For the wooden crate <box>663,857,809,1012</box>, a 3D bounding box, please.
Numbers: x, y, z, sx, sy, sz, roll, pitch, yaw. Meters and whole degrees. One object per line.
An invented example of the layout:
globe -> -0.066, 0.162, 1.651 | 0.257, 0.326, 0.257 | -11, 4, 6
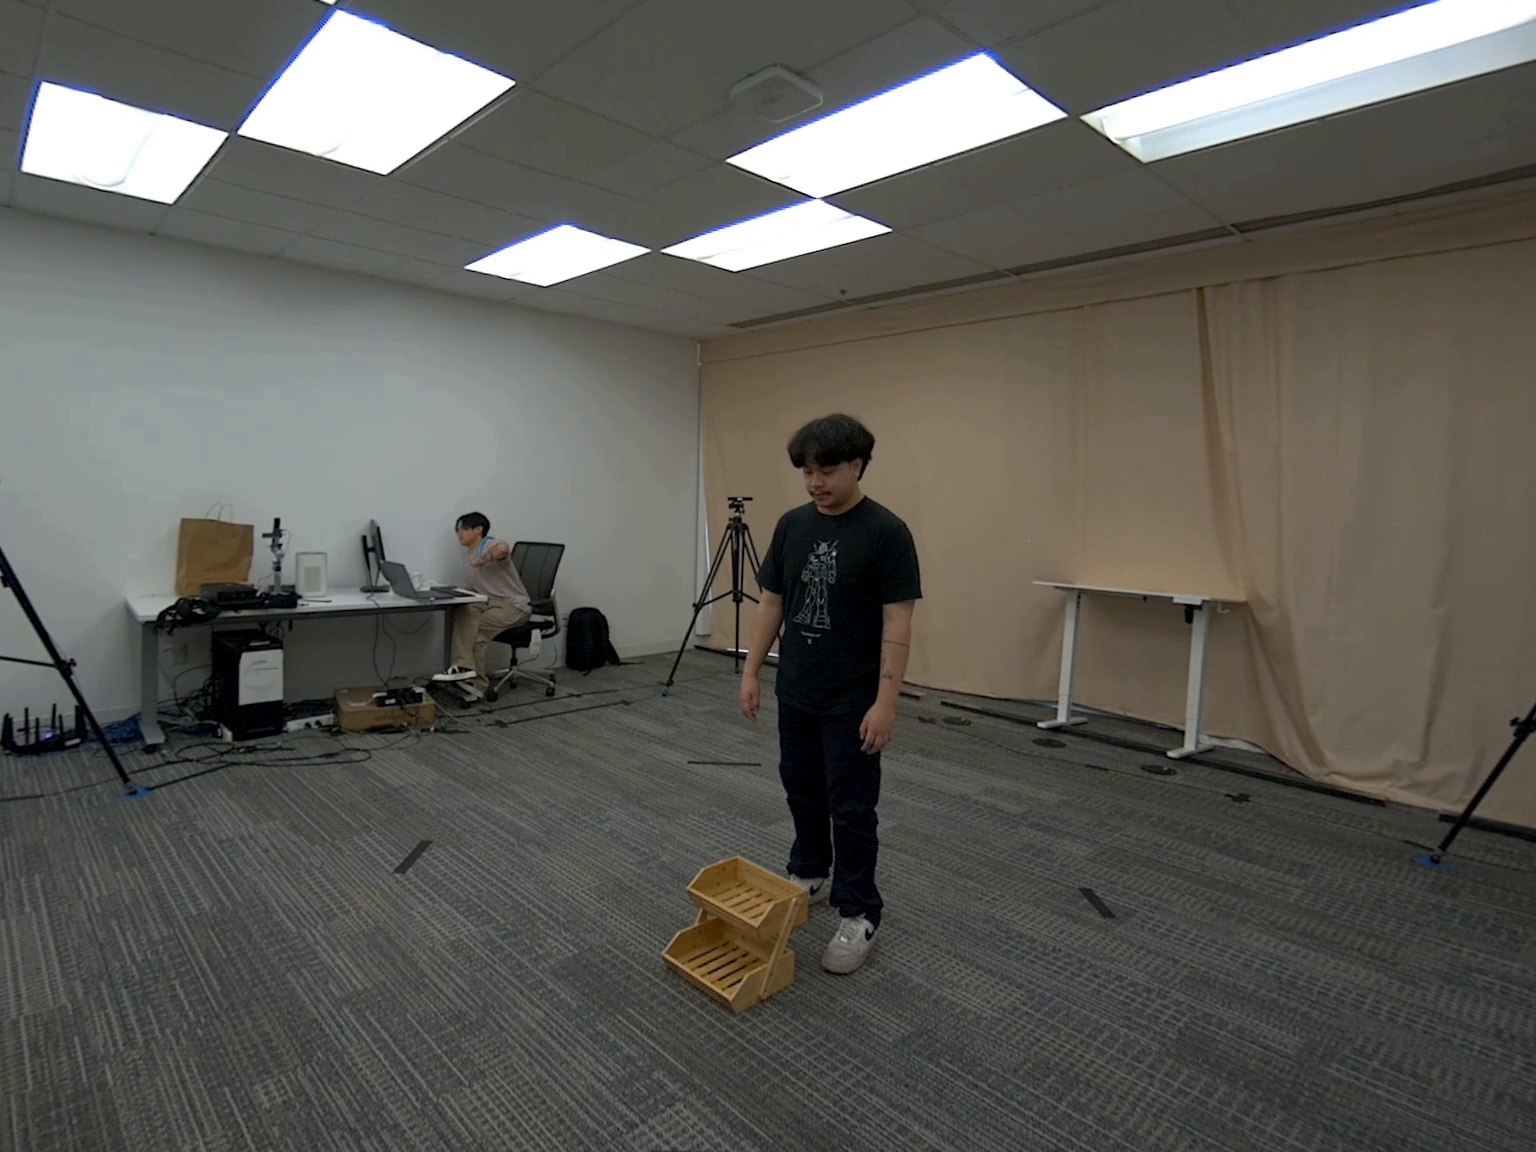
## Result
wooden crate -> -0.104, 1.035, 2.453 | 0.333, 0.272, 0.295 | 6, 5, 44
